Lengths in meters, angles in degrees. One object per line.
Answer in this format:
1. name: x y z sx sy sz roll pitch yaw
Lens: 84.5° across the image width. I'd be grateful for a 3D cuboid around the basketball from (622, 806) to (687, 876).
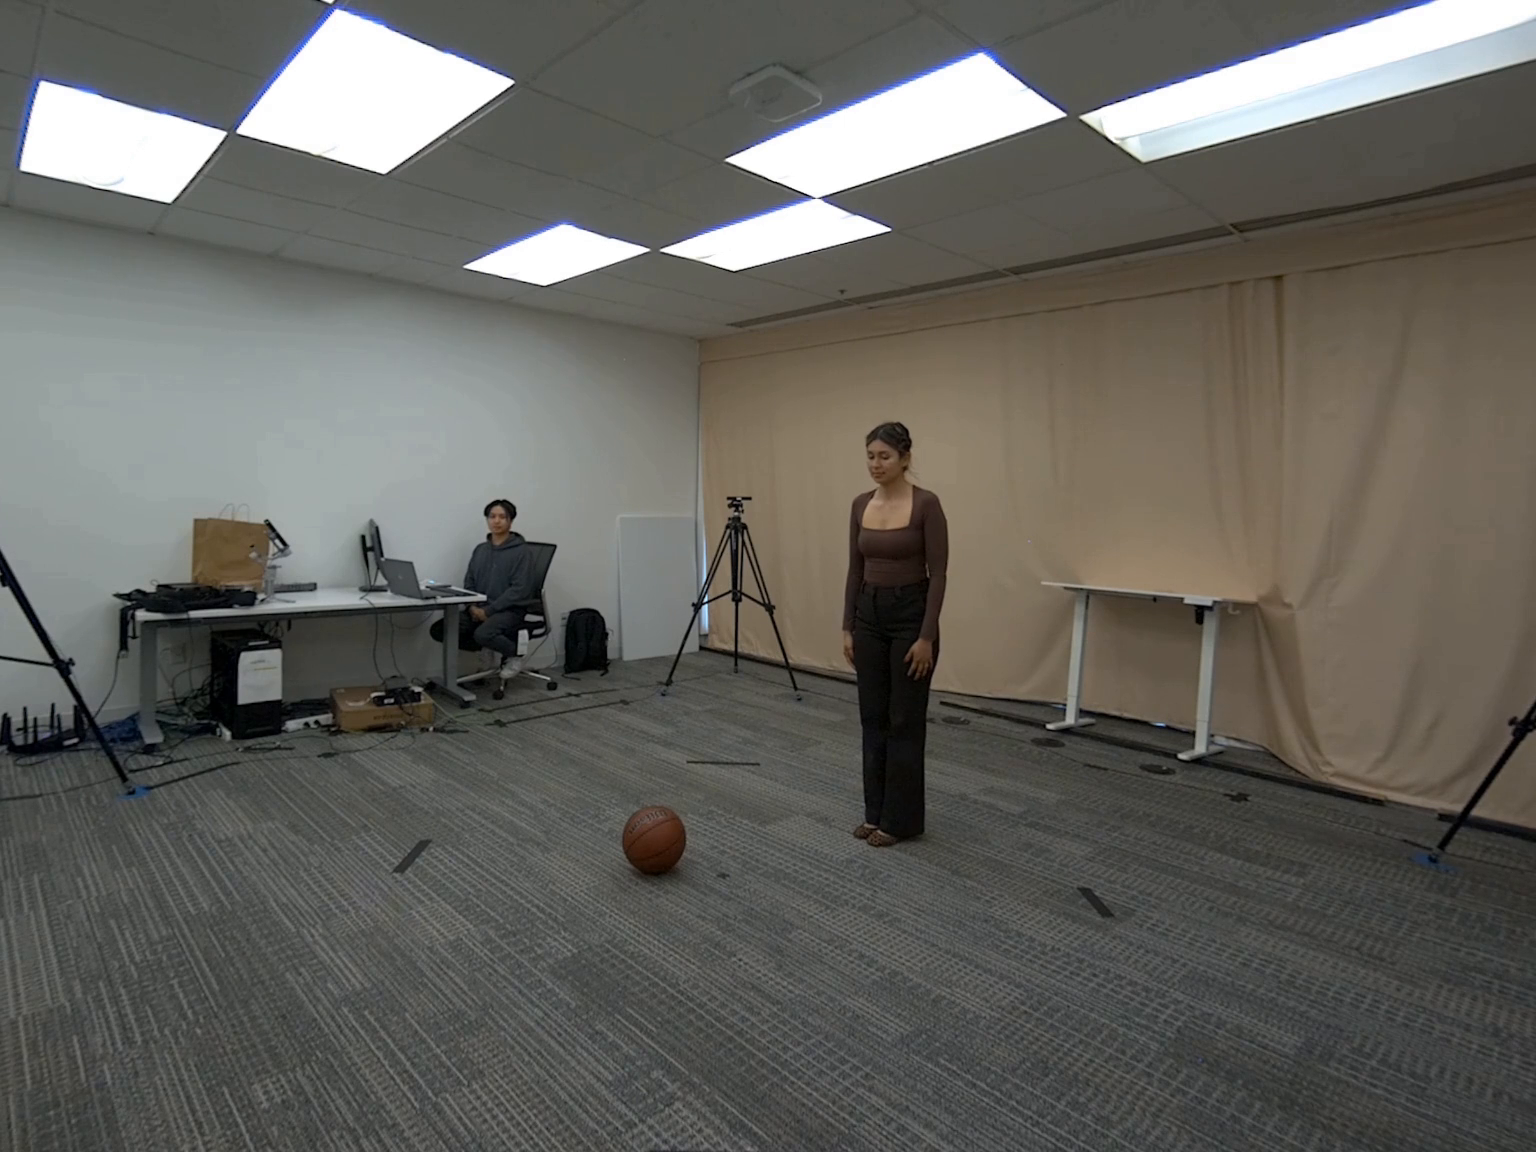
1. basketball: -0.426 0.976 3.124 0.236 0.235 0.237 1 4 -1
